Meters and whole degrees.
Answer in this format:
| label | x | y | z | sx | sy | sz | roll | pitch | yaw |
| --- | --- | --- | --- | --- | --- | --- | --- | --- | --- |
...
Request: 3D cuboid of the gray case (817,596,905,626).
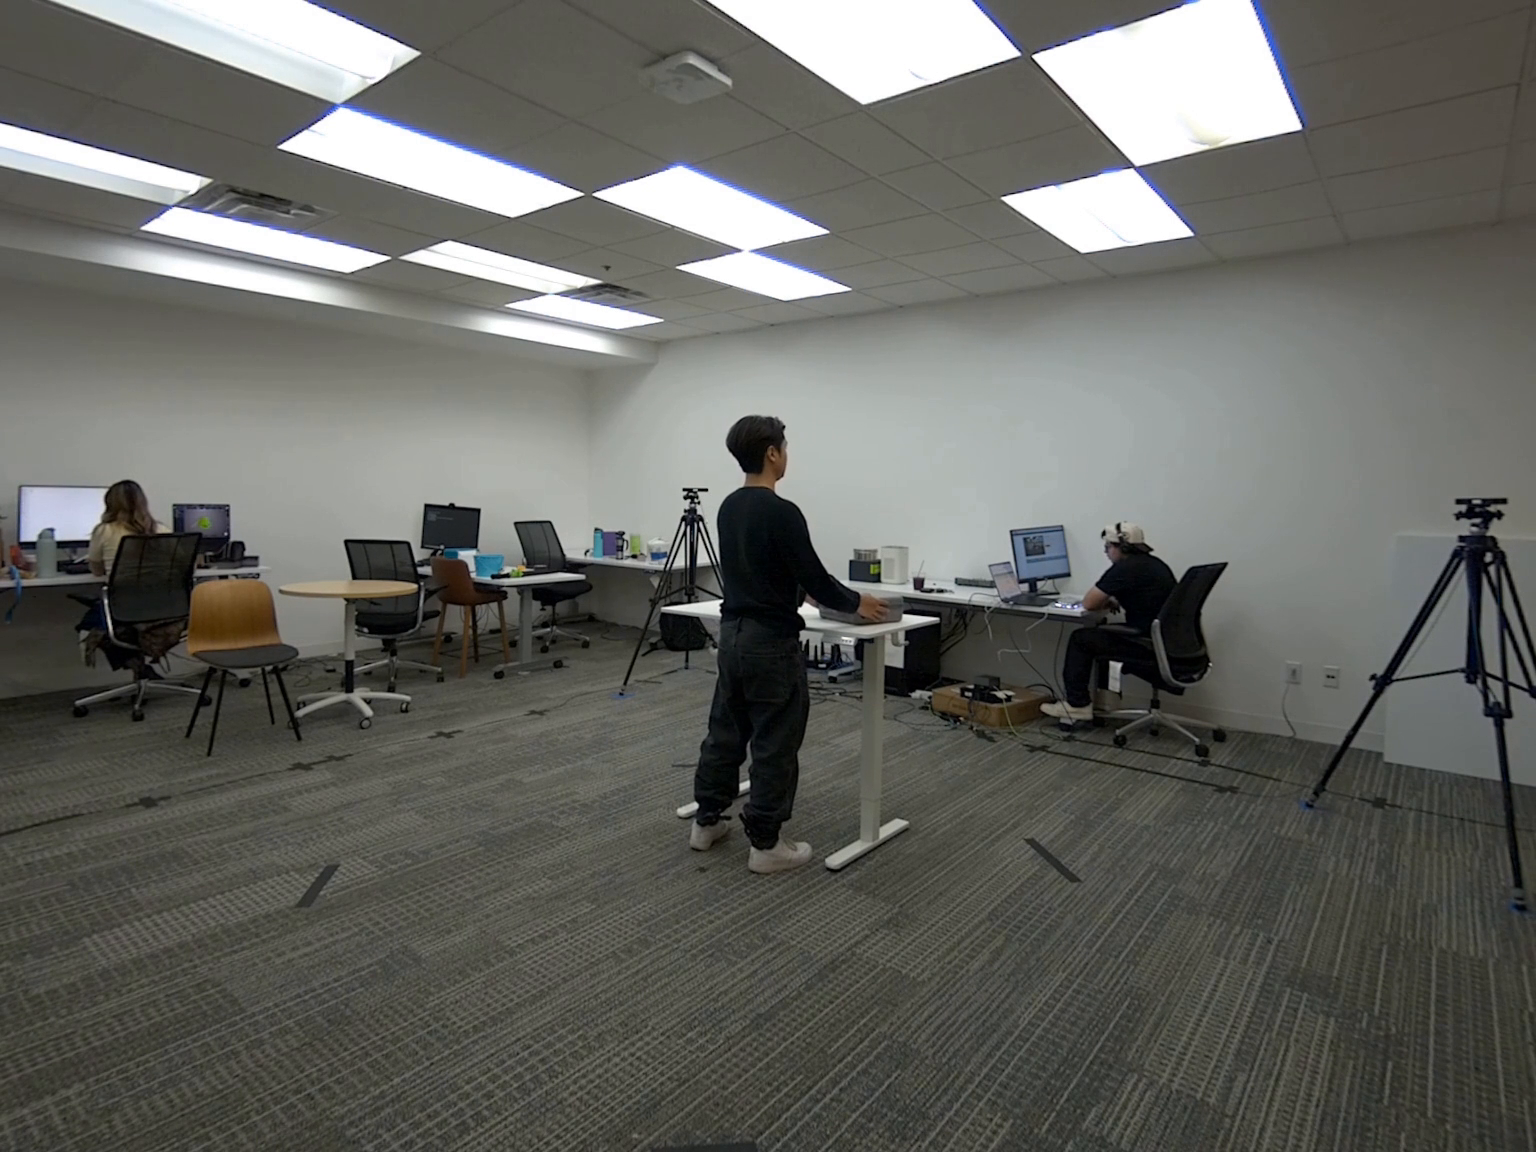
| label | x | y | z | sx | sy | sz | roll | pitch | yaw |
| --- | --- | --- | --- | --- | --- | --- | --- | --- | --- |
| gray case | 0.358 | 0.121 | 3.376 | 0.253 | 0.104 | 0.265 | -3 | 7 | -34 |
